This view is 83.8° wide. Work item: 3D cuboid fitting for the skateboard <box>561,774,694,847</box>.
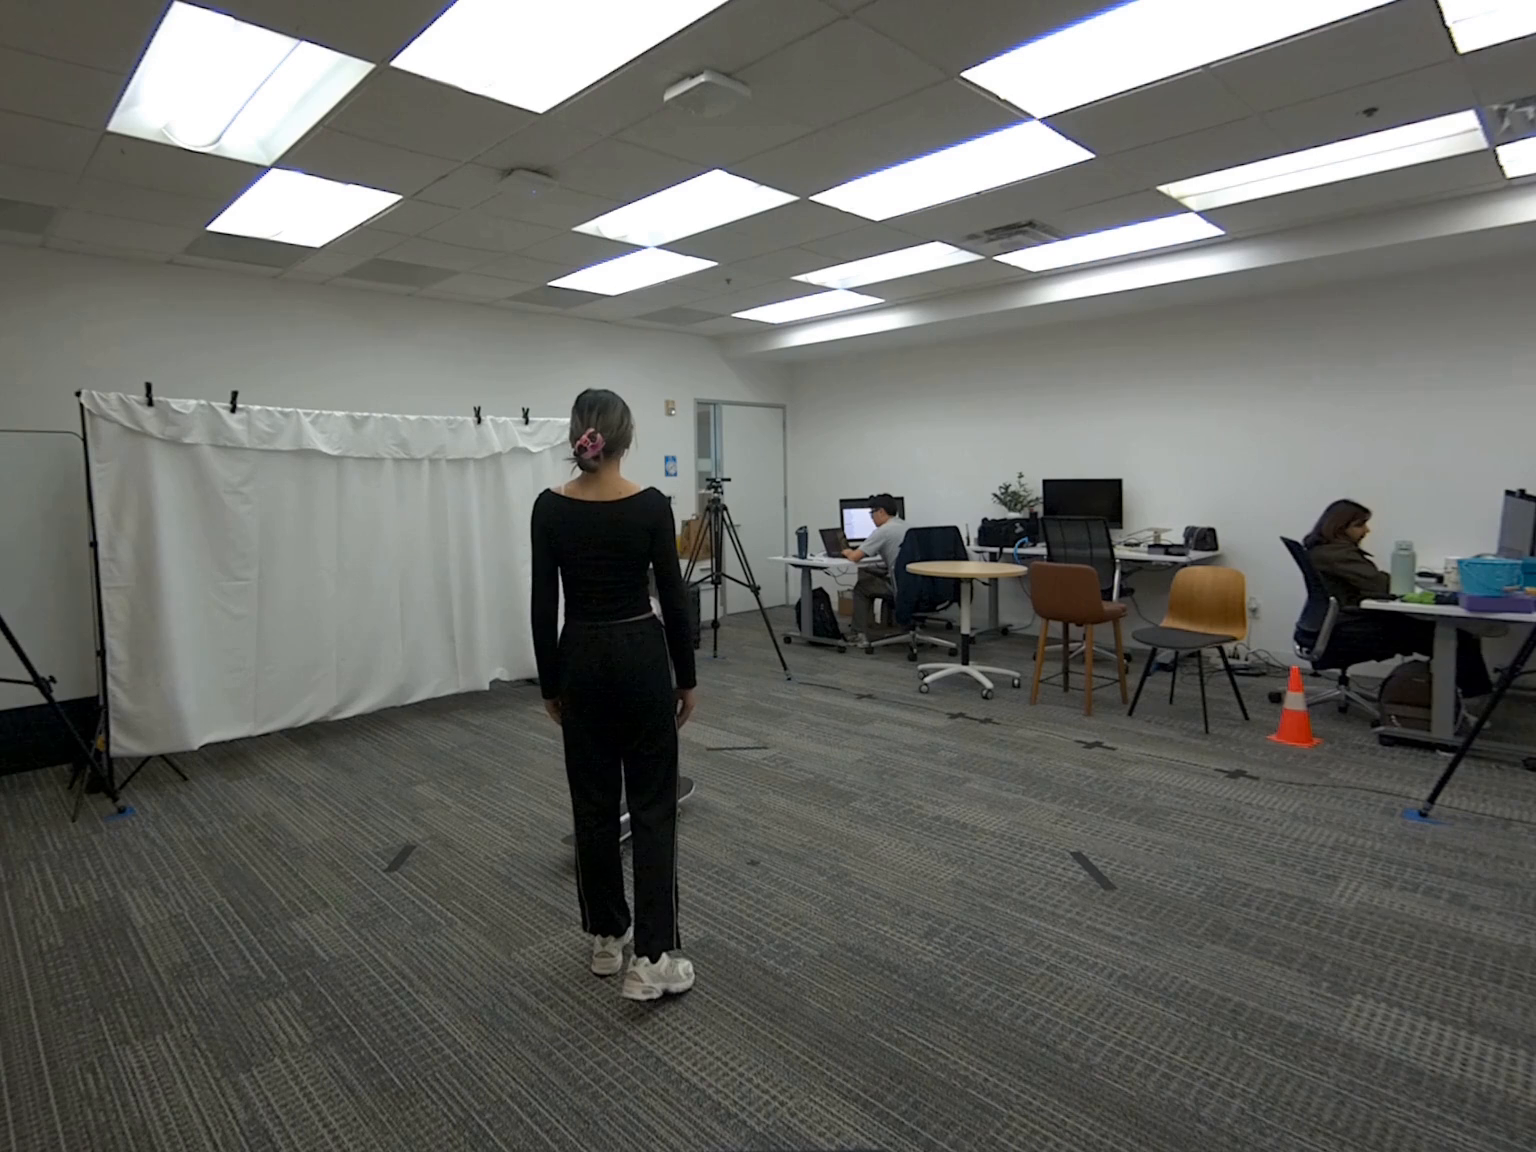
[{"bbox_3d":[-0.522,0.961,3.369,0.198,0.110,0.770,2,7,25],"label":"skateboard"}]
